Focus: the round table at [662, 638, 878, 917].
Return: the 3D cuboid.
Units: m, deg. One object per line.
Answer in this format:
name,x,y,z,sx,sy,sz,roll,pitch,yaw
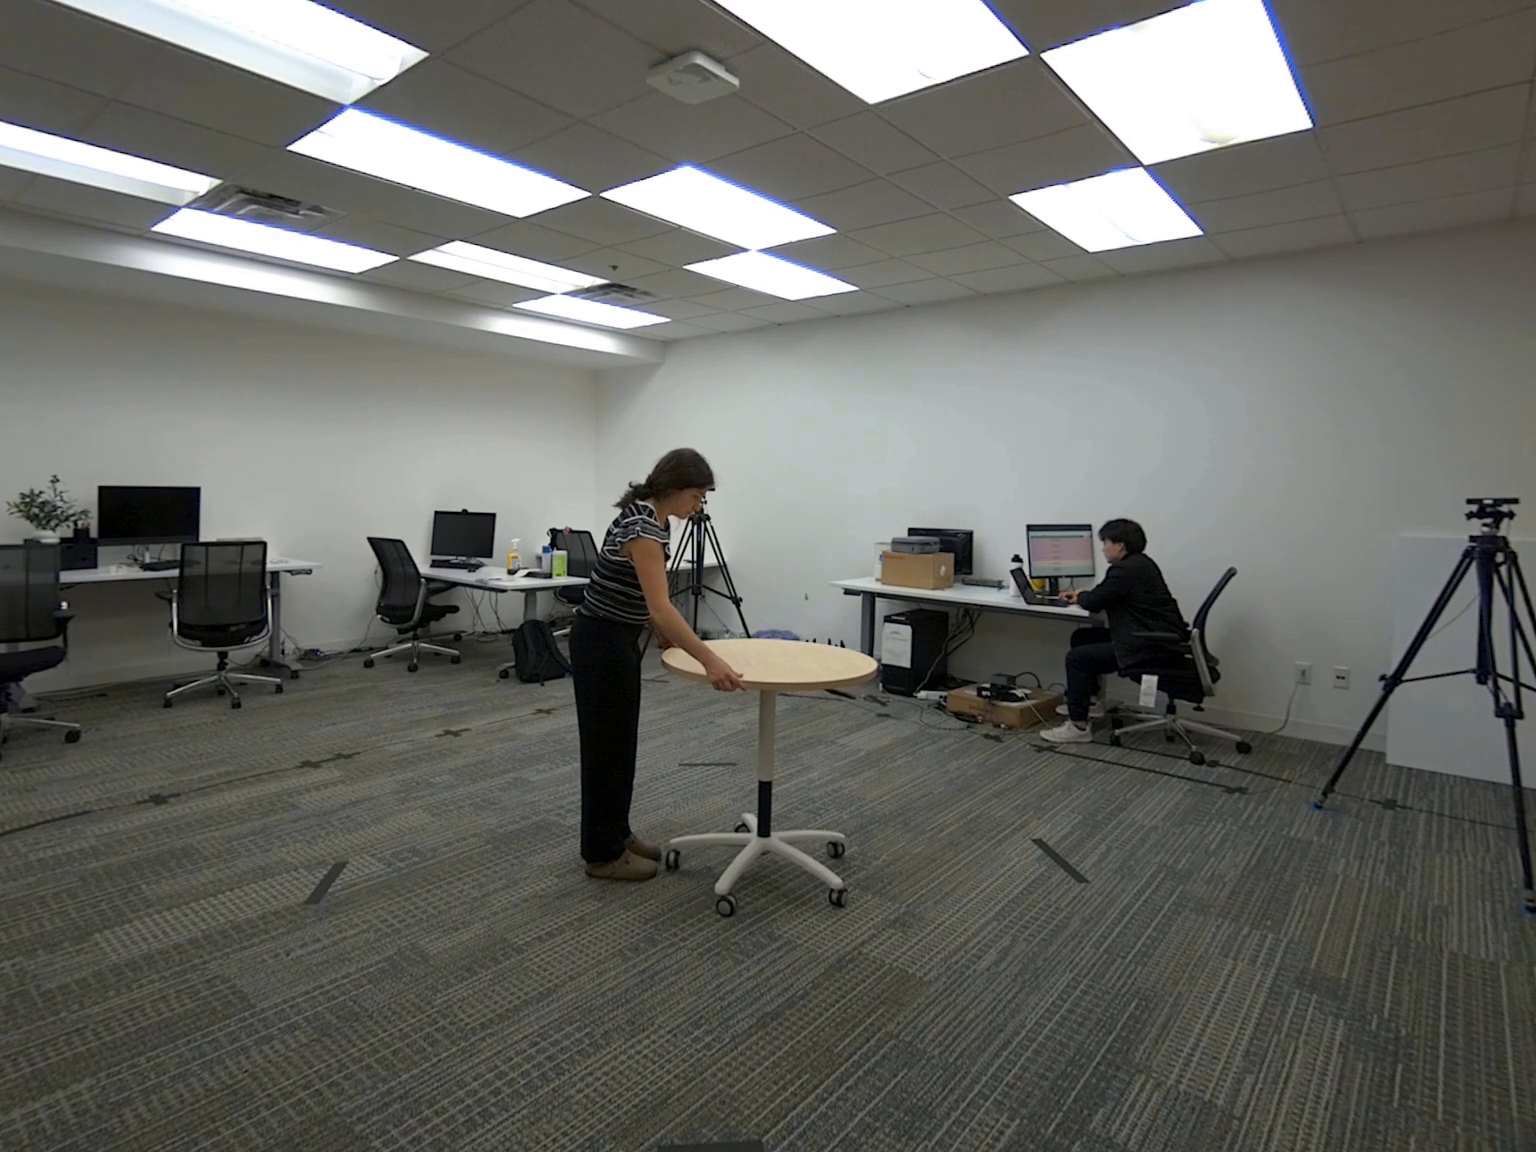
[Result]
round table,-0.025,0.683,3.040,0.784,0.784,0.789,1,4,-2
